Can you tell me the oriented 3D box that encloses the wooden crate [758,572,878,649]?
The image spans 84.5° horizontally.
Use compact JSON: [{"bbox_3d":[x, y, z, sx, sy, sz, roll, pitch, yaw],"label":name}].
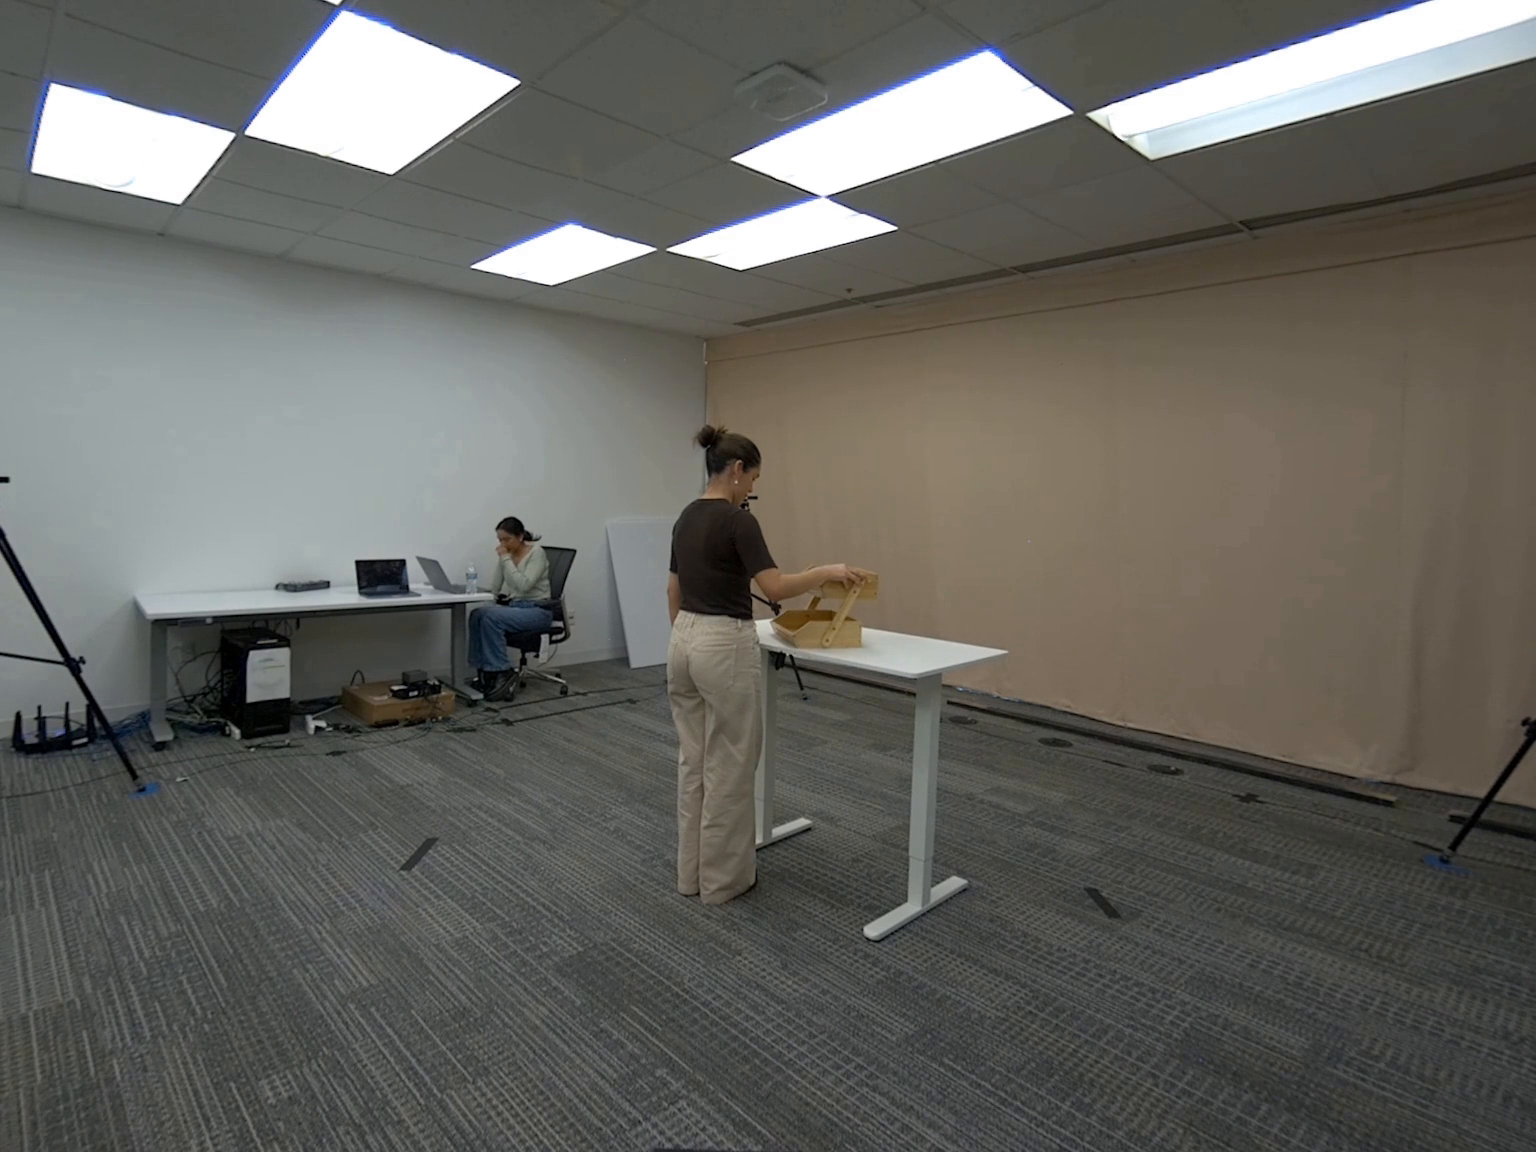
[{"bbox_3d":[0.186,0.099,3.039,0.299,0.272,0.329,1,5,-13],"label":"wooden crate"}]
